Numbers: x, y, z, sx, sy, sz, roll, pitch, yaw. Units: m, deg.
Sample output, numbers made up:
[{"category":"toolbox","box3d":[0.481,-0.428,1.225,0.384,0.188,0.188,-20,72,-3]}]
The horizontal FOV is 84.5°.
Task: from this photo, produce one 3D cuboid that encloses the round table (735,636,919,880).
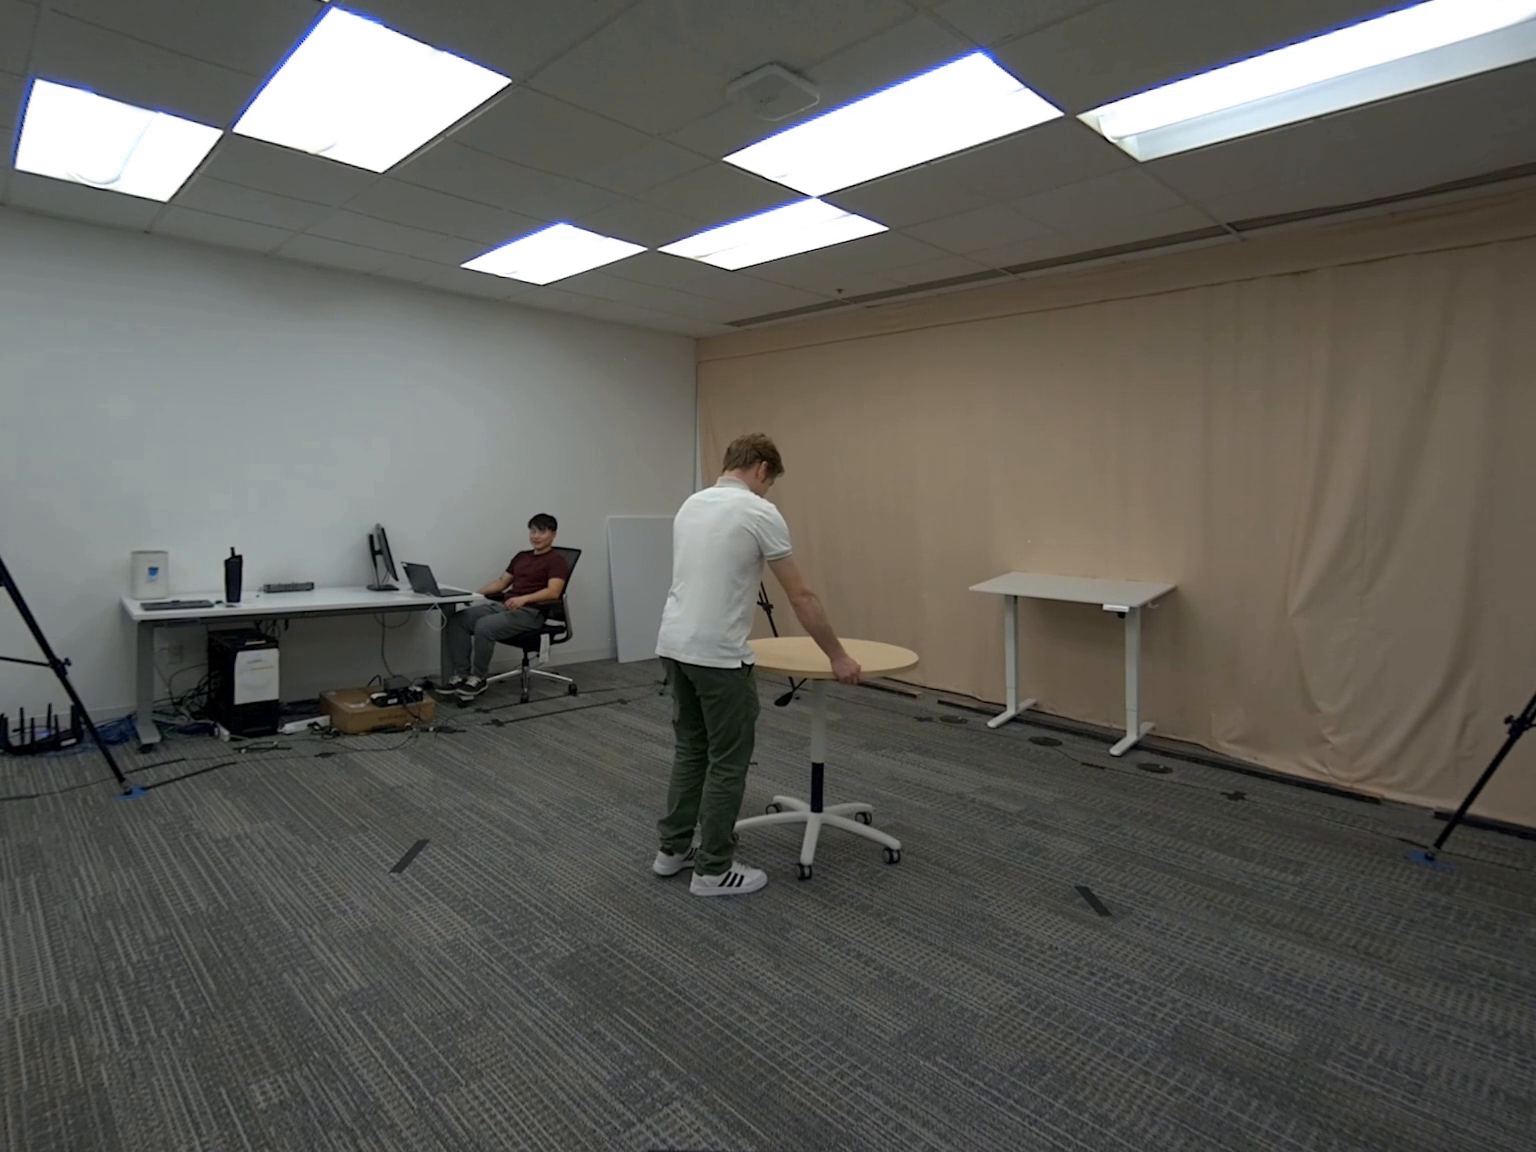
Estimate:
[{"category":"round table","box3d":[0.192,0.698,3.375,0.763,0.792,0.766,1,4,-1]}]
